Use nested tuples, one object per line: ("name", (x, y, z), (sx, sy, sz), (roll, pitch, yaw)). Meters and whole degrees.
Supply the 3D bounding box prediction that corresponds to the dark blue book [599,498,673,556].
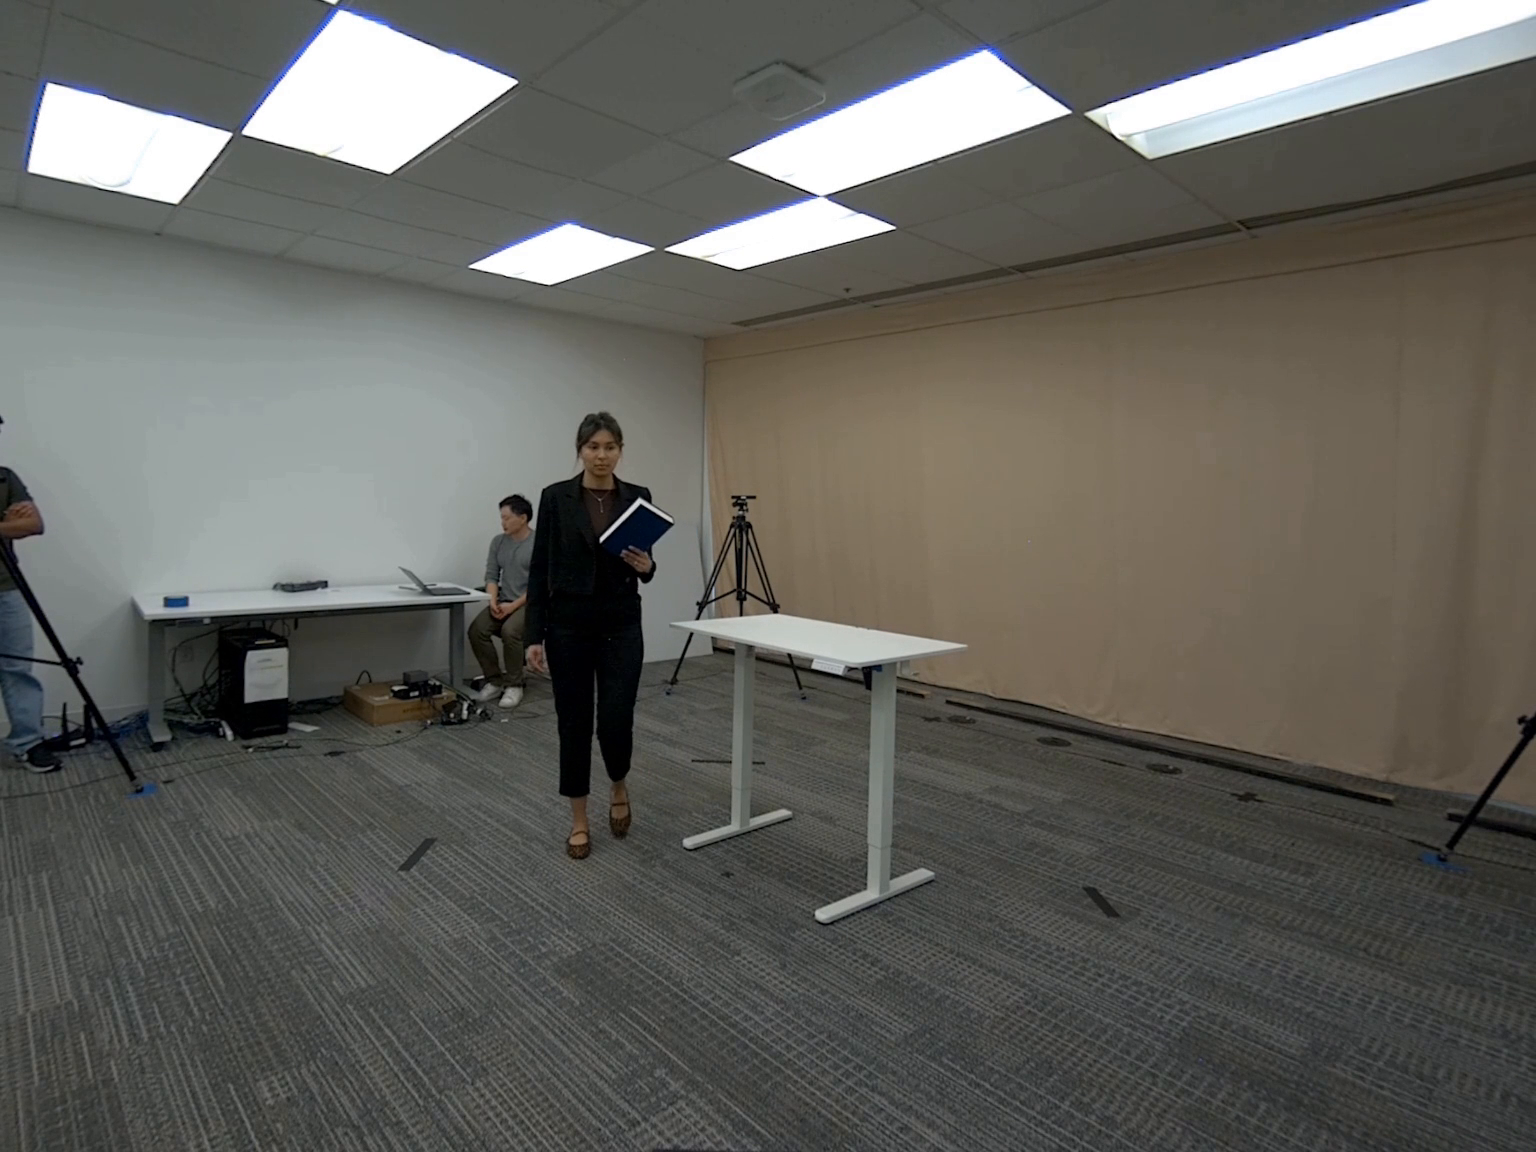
("dark blue book", (-0.489, -0.167, 3.090), (0.159, 0.246, 0.046), (33, 30, -32))
